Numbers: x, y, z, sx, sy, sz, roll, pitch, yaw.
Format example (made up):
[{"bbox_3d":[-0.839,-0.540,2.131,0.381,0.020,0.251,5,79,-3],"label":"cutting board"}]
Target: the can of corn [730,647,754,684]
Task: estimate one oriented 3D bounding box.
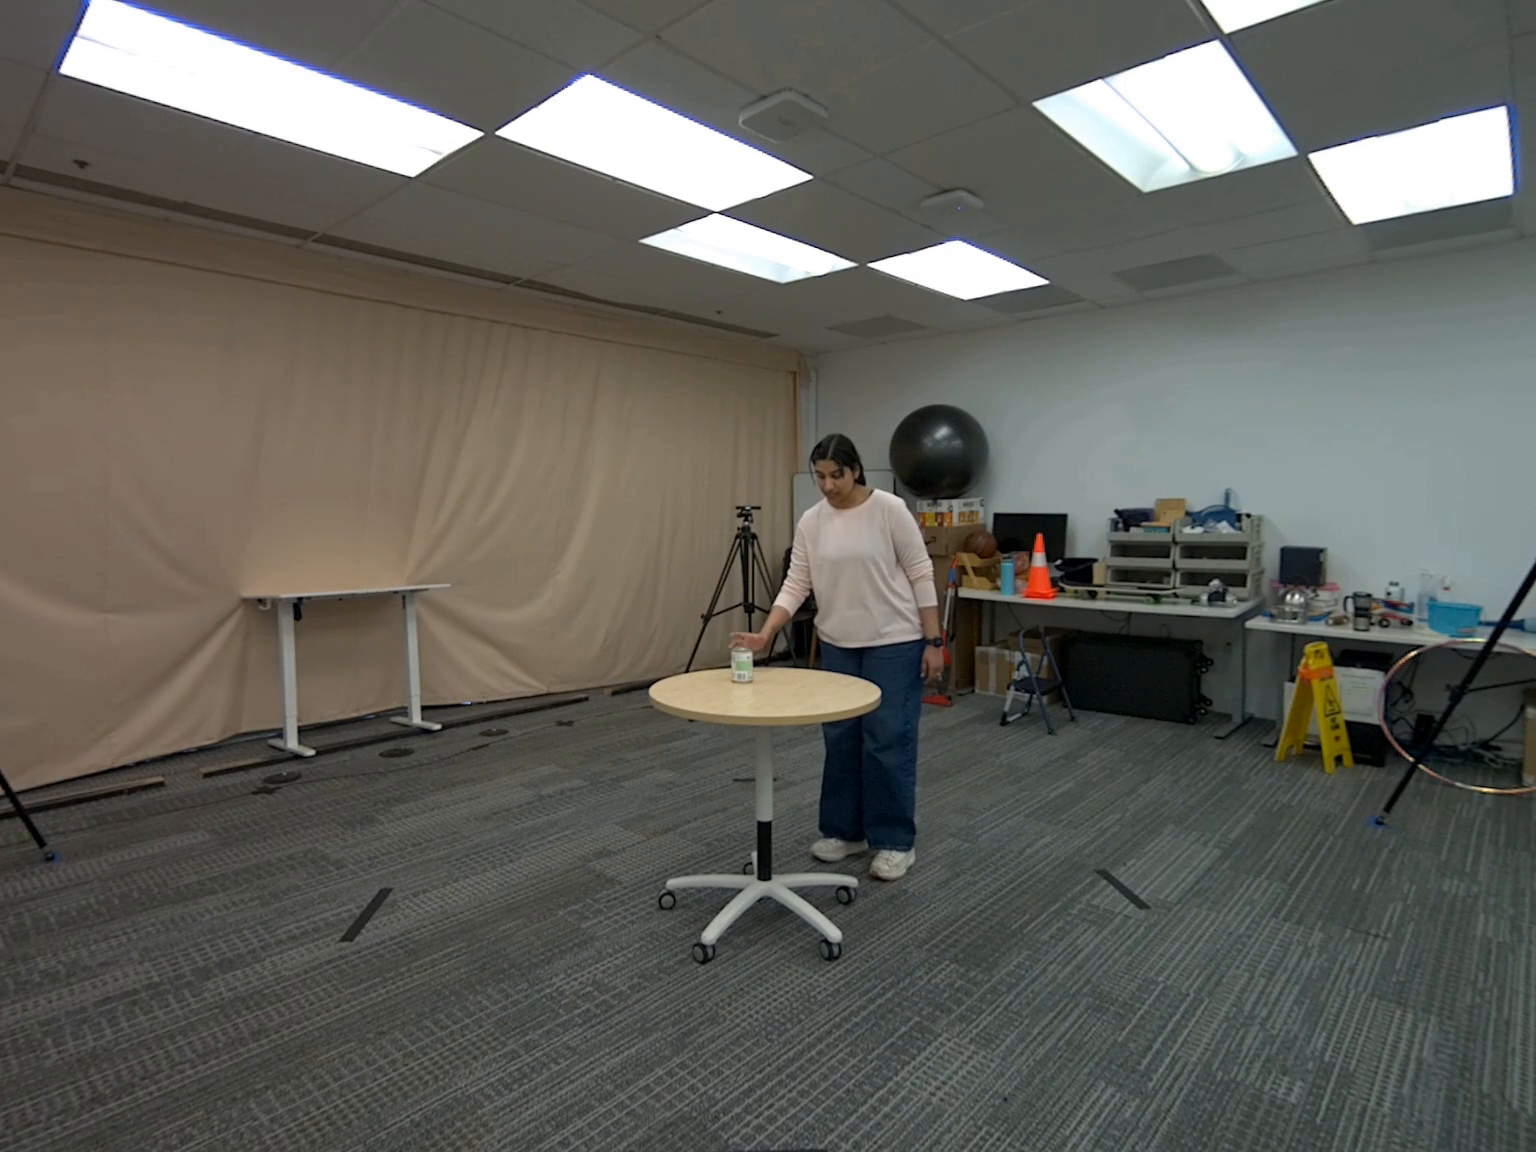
[{"bbox_3d":[-0.092,0.312,2.927,0.074,0.111,0.074,-2,3,-2],"label":"can of corn"}]
